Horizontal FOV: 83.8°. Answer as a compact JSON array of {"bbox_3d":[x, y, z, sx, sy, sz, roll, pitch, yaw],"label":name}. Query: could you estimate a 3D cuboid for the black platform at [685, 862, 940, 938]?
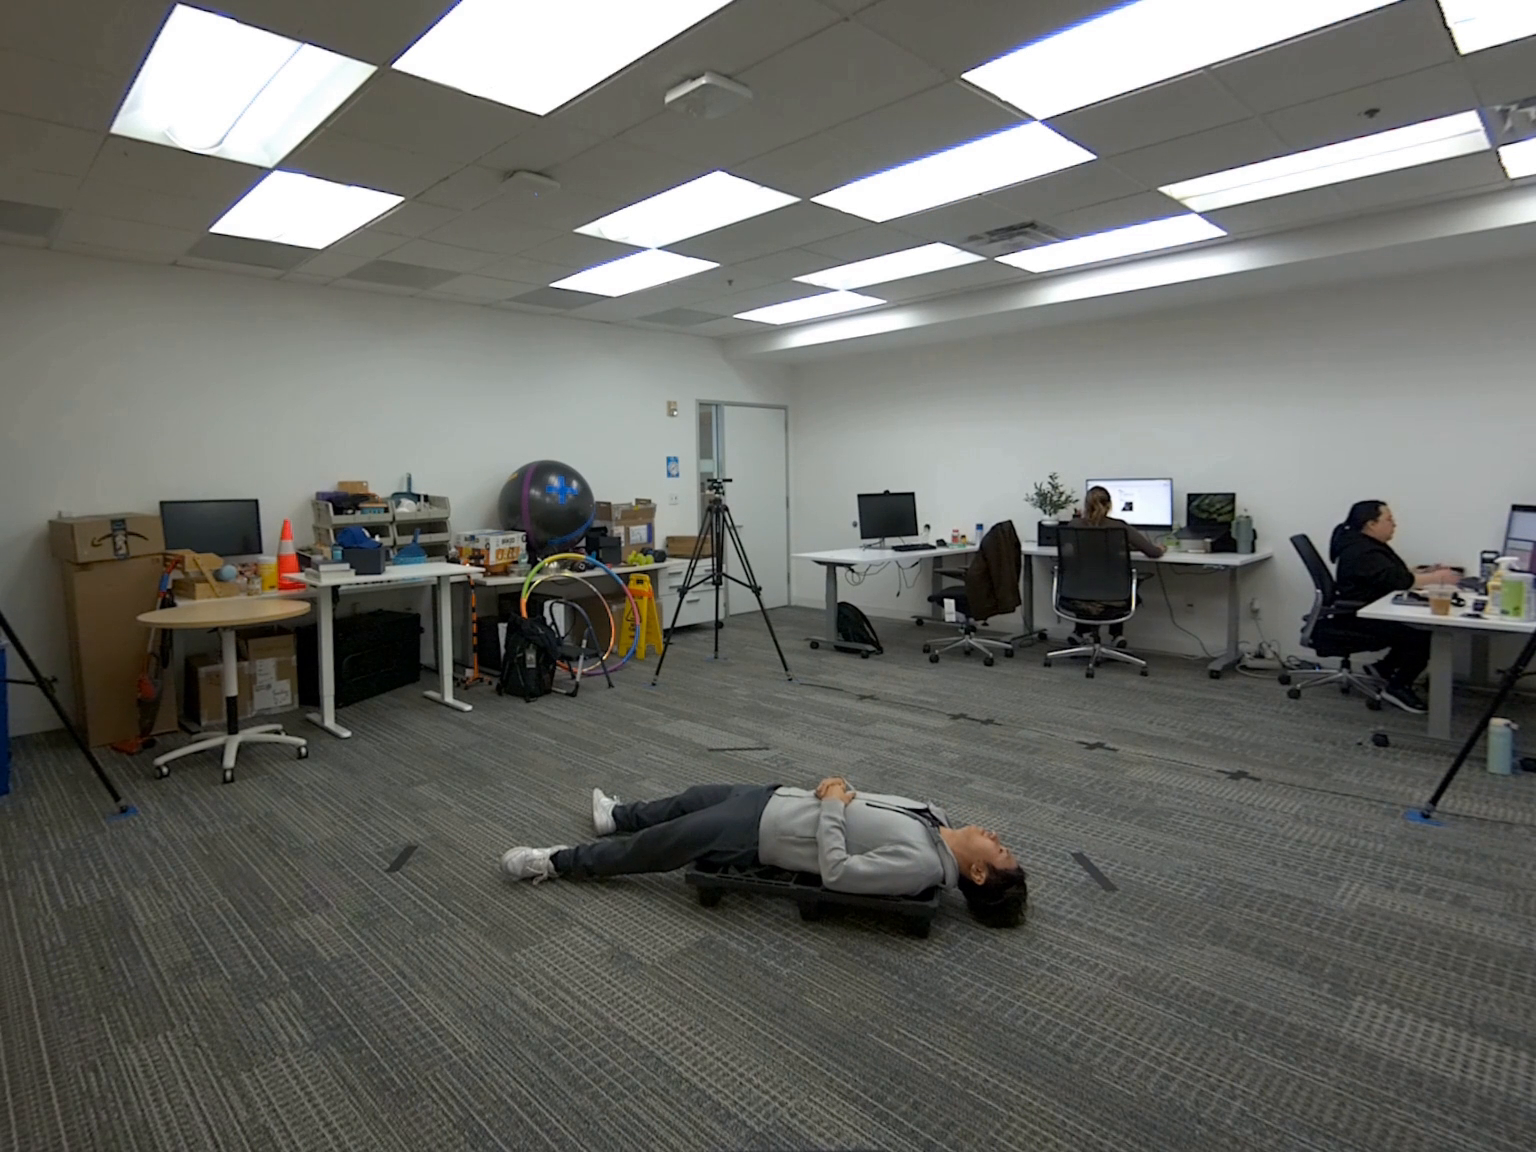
[{"bbox_3d":[0.192,0.991,2.914,0.820,0.143,0.597,3,6,18],"label":"black platform"}]
